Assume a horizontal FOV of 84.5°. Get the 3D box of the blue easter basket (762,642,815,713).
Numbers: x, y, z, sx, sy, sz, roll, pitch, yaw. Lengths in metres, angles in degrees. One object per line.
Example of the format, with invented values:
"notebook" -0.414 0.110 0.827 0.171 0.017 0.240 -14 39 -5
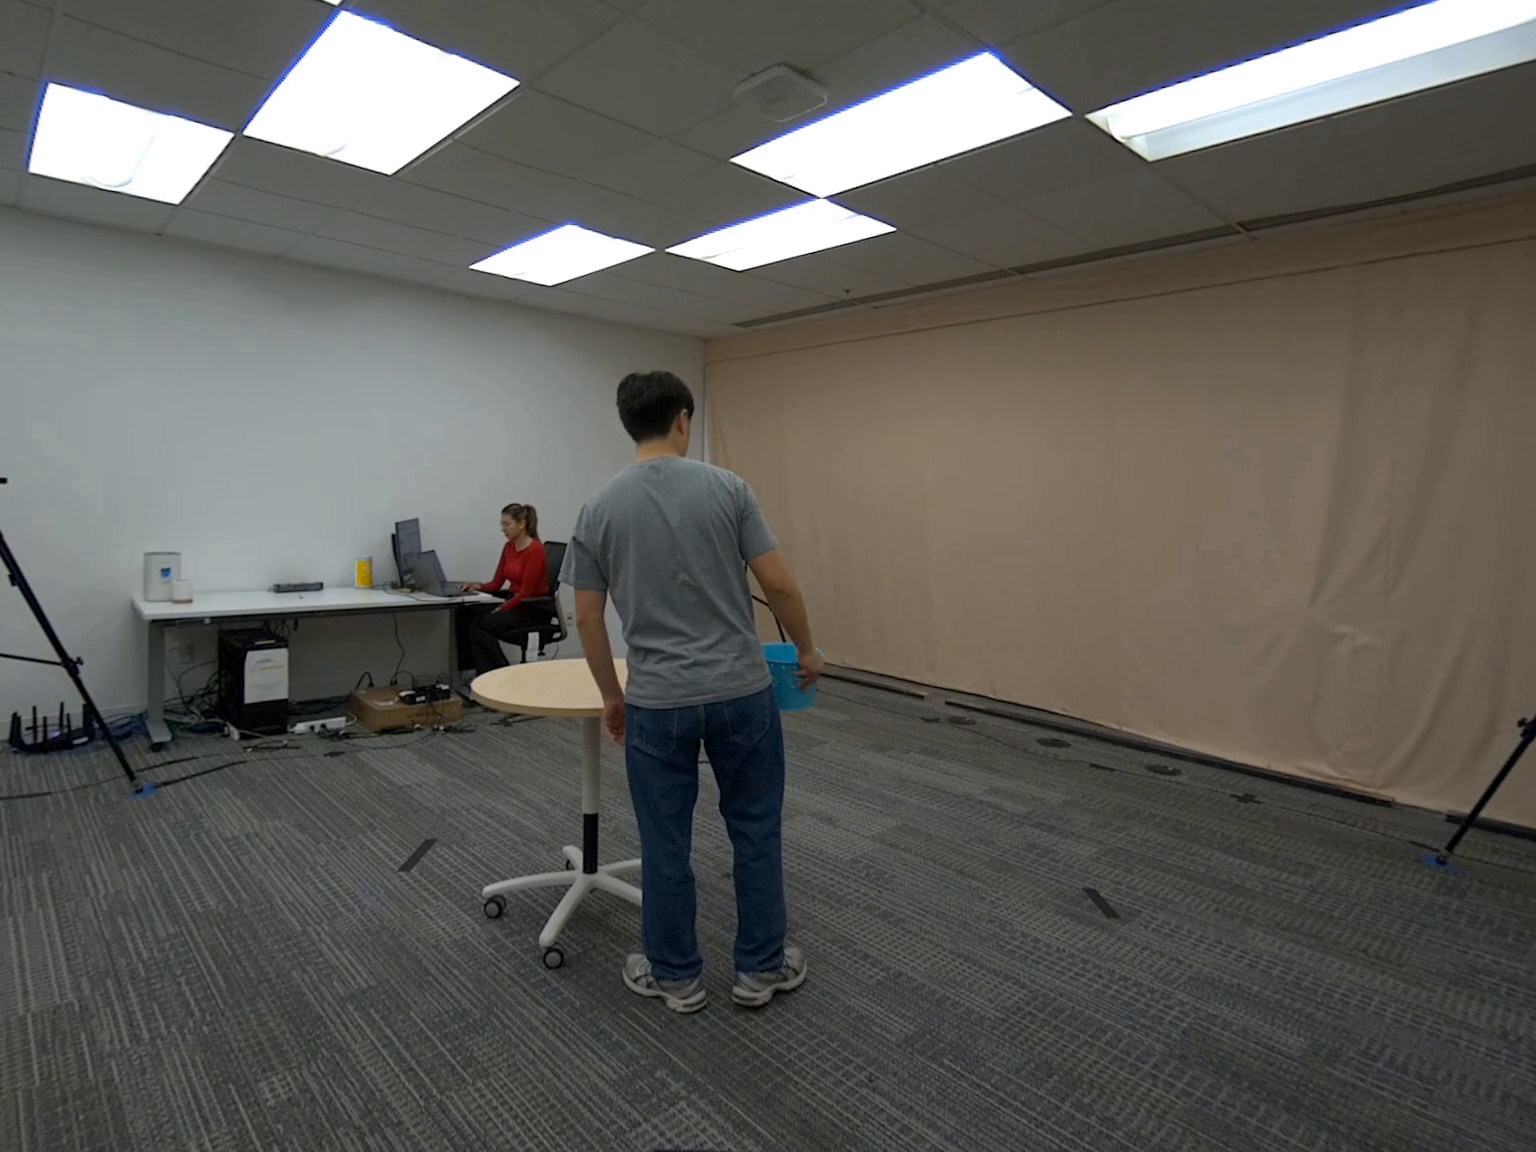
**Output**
"blue easter basket" 0.038 0.302 2.529 0.243 0.155 0.245 2 10 -2
